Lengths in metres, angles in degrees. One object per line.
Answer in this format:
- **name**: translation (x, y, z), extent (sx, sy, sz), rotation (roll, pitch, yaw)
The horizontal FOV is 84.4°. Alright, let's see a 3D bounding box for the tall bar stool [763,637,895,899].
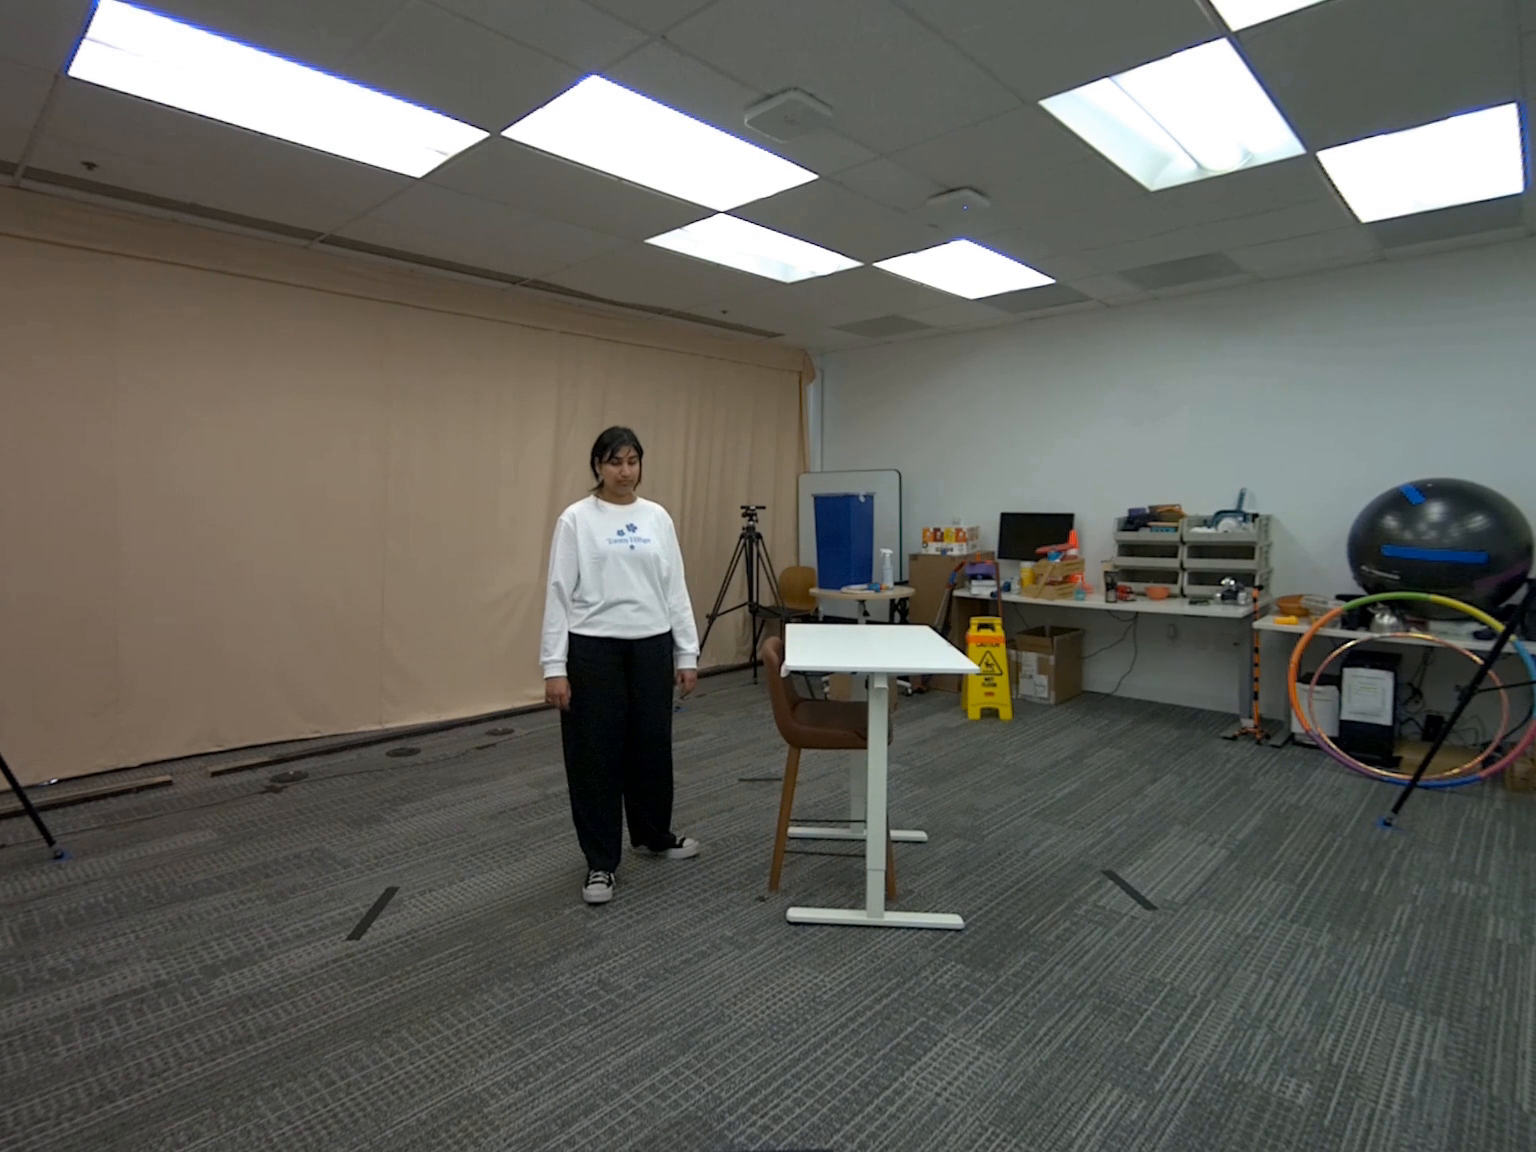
- **tall bar stool**: translation (0.237, 0.697, 3.180), extent (0.471, 0.888, 0.454), rotation (-2, 3, 6)
